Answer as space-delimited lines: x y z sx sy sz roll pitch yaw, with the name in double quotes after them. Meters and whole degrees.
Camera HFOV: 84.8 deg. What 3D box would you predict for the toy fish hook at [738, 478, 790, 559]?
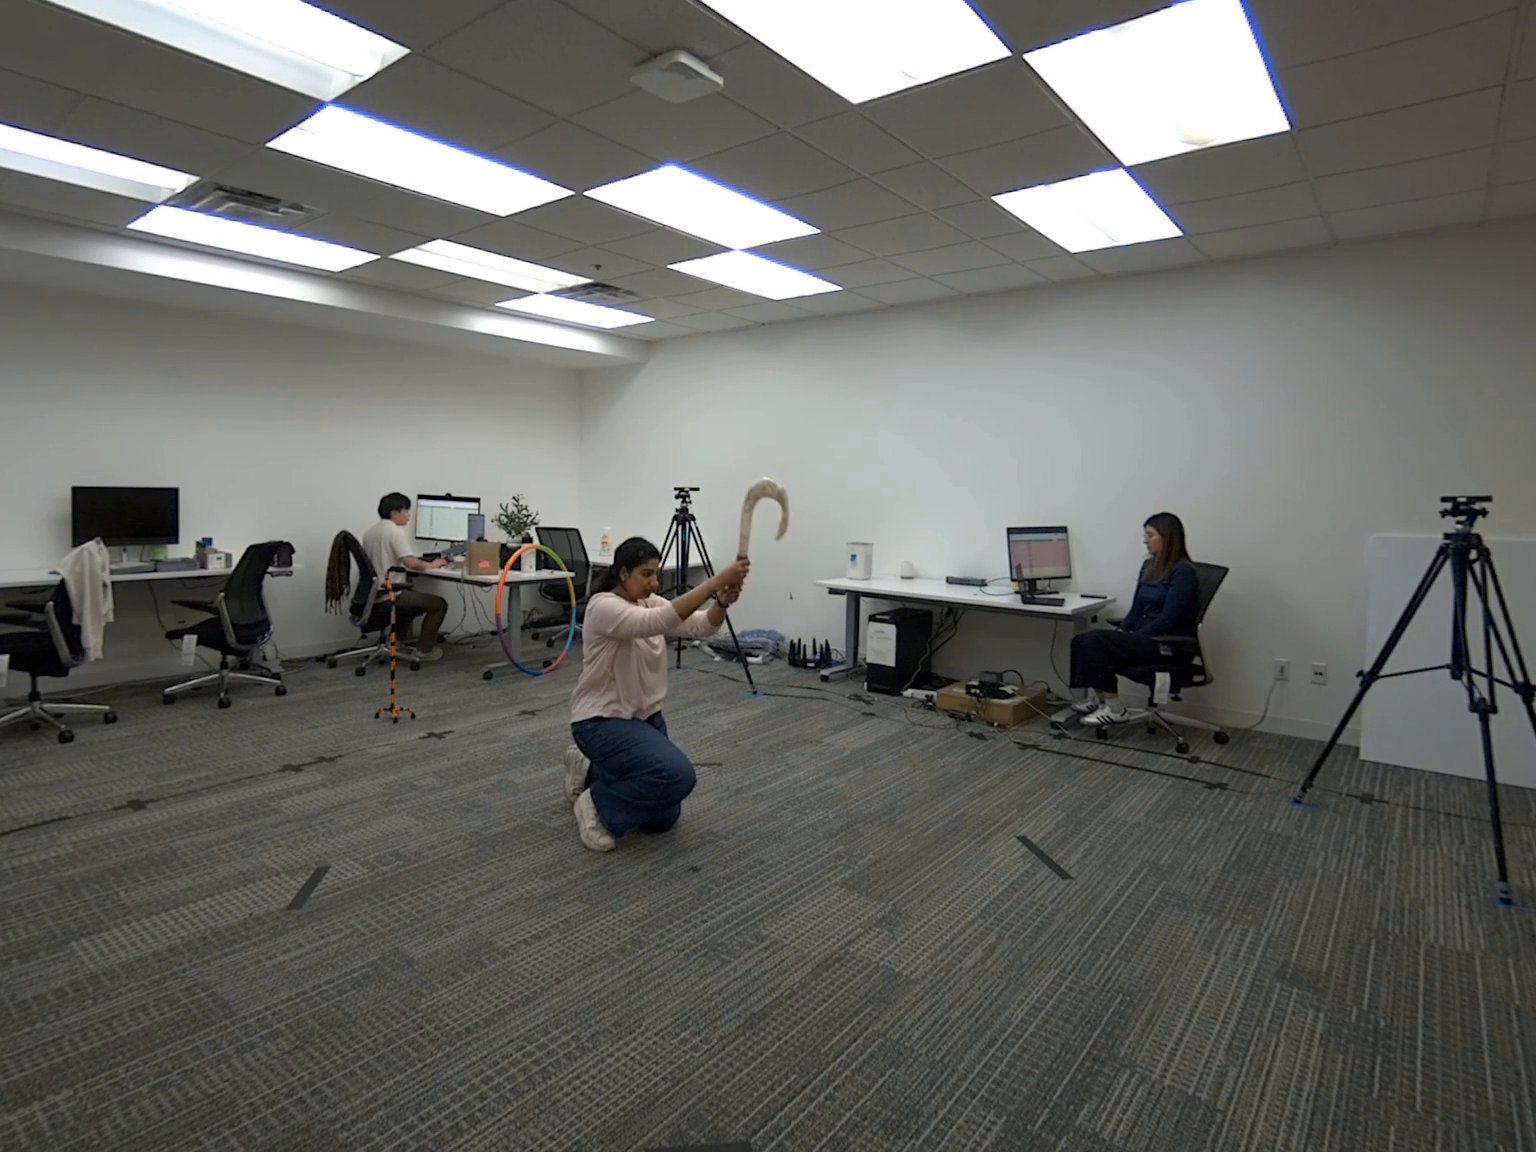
-0.071 -0.107 3.148 0.047 0.502 0.234 3 20 -44 "toy fish hook"
